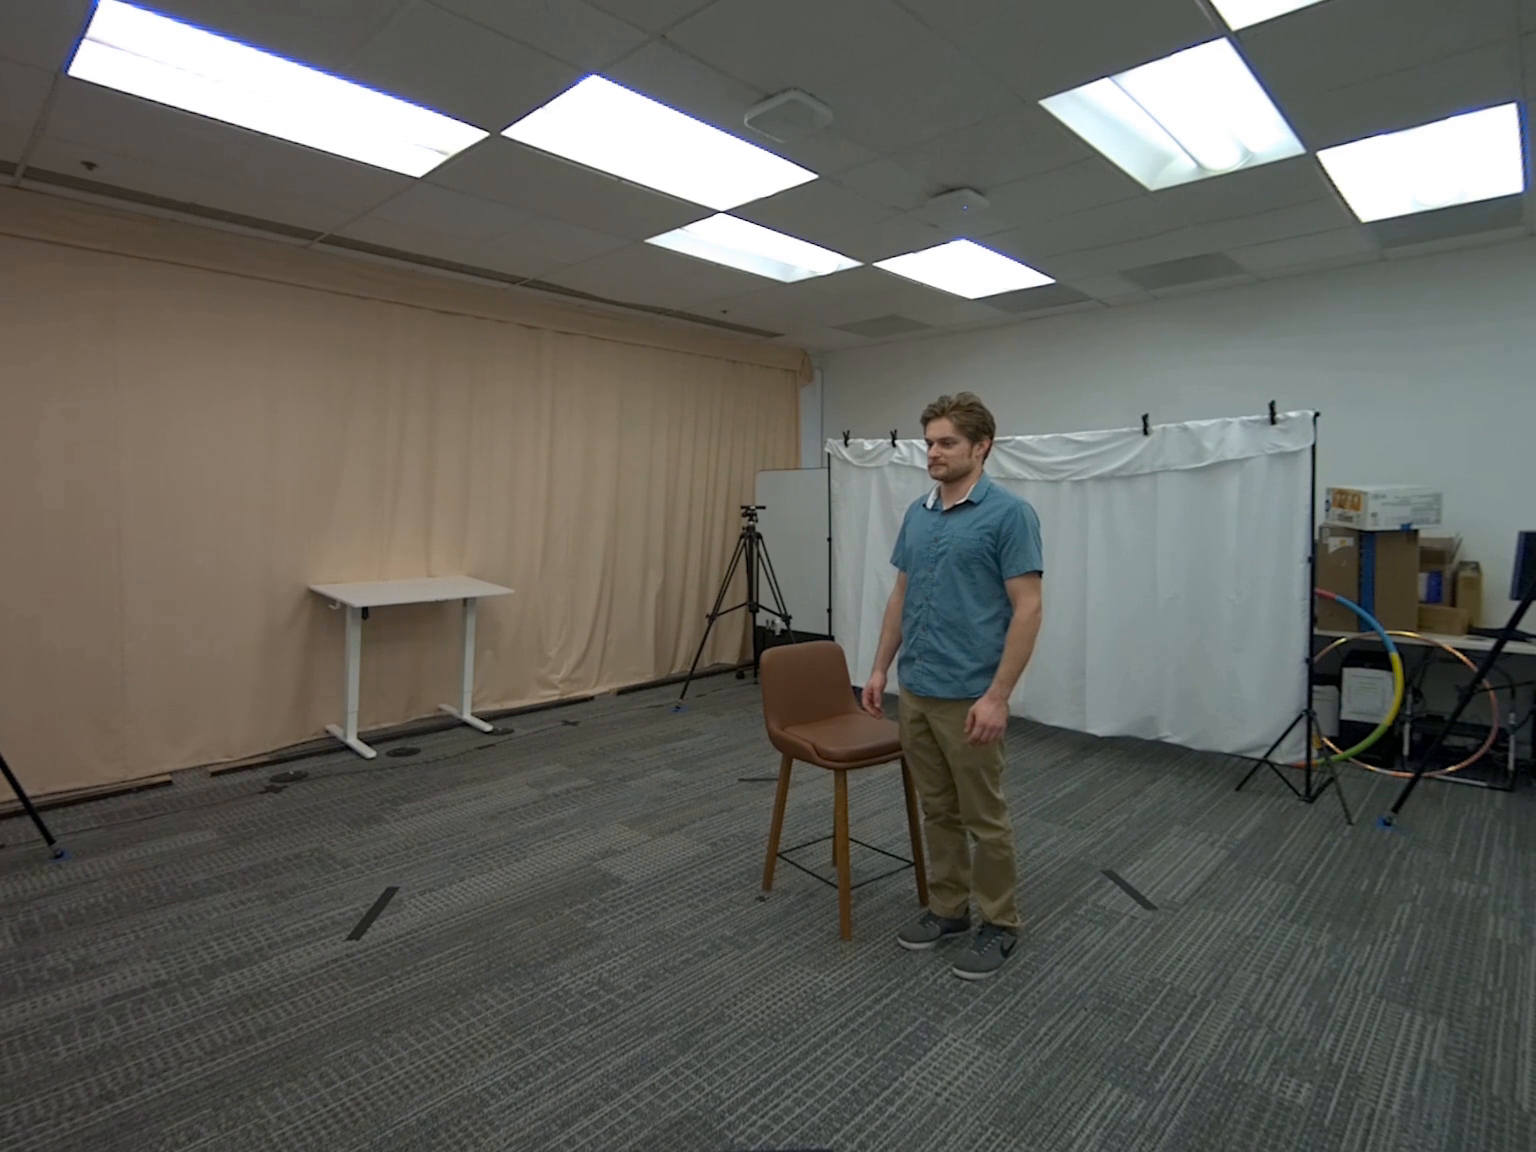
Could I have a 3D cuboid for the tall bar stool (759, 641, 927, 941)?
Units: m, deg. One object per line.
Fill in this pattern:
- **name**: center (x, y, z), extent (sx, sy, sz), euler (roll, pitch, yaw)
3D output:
- **tall bar stool**: center (0.257, 0.708, 2.969), extent (0.443, 0.889, 0.482), euler (-3, 2, -37)
